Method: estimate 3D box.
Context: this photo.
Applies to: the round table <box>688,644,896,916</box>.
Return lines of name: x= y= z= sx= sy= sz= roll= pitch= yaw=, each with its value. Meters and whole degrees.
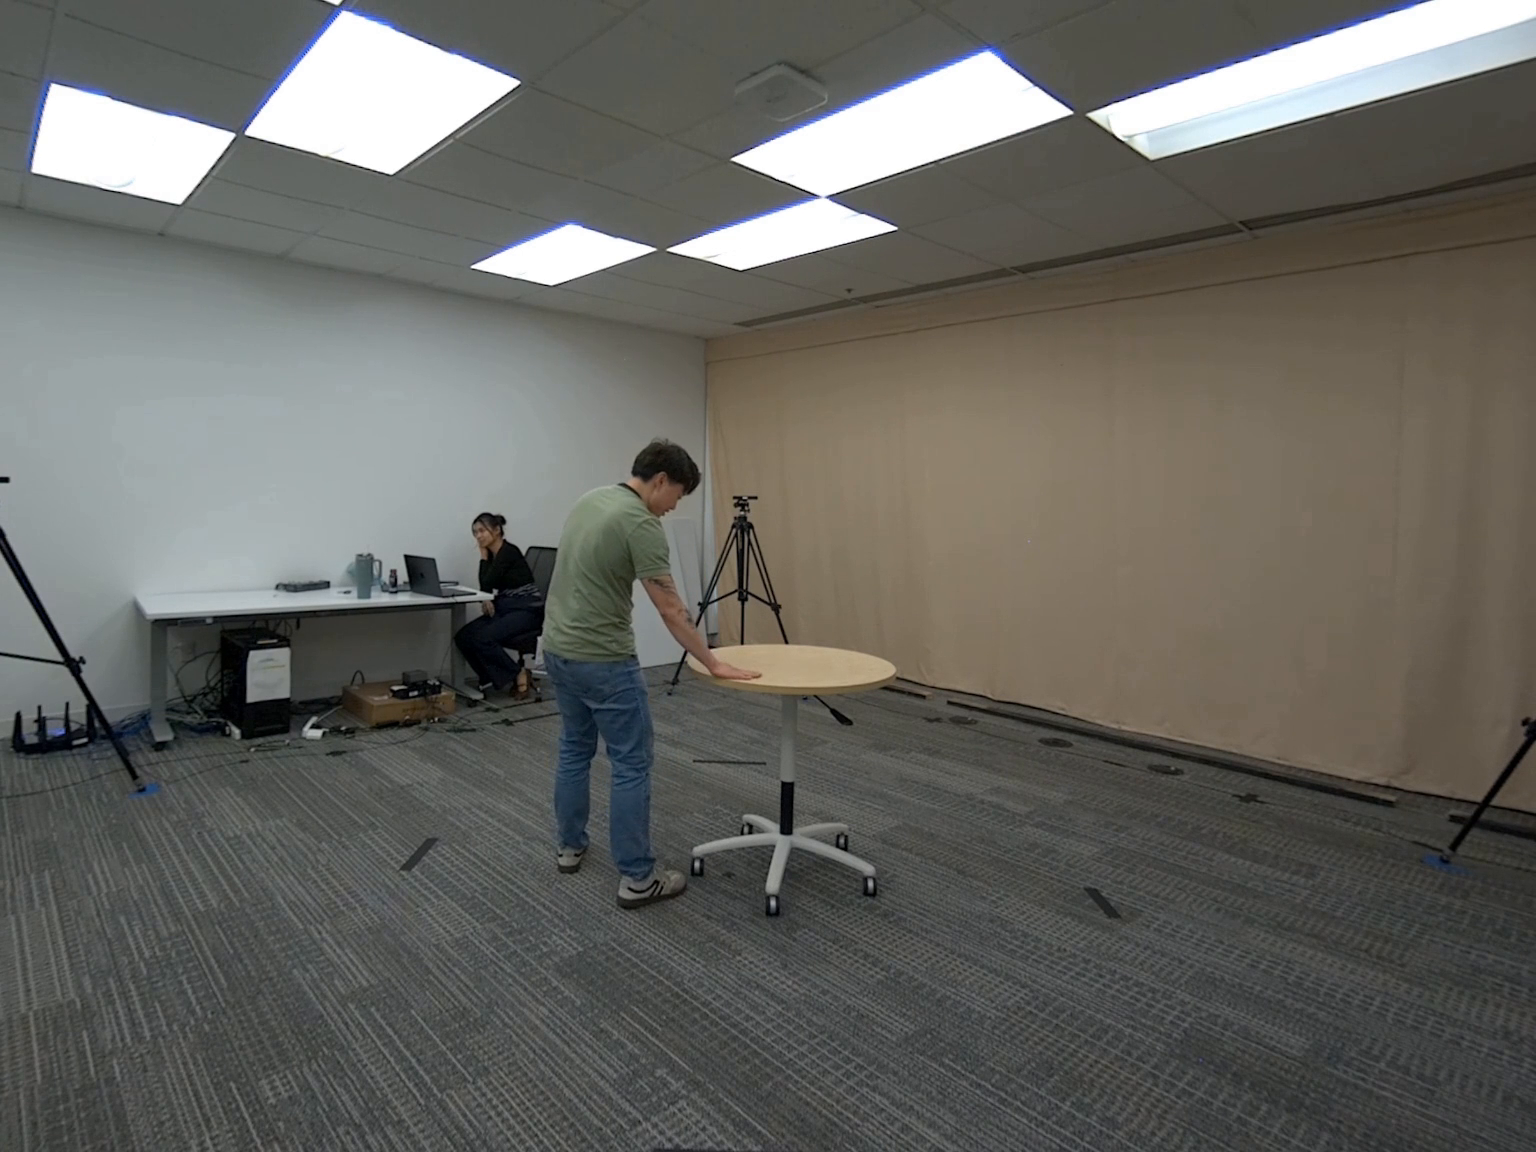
round table: x=0.069 y=0.716 z=3.136 sx=0.763 sy=0.792 sz=0.766 roll=1 pitch=4 yaw=-1
